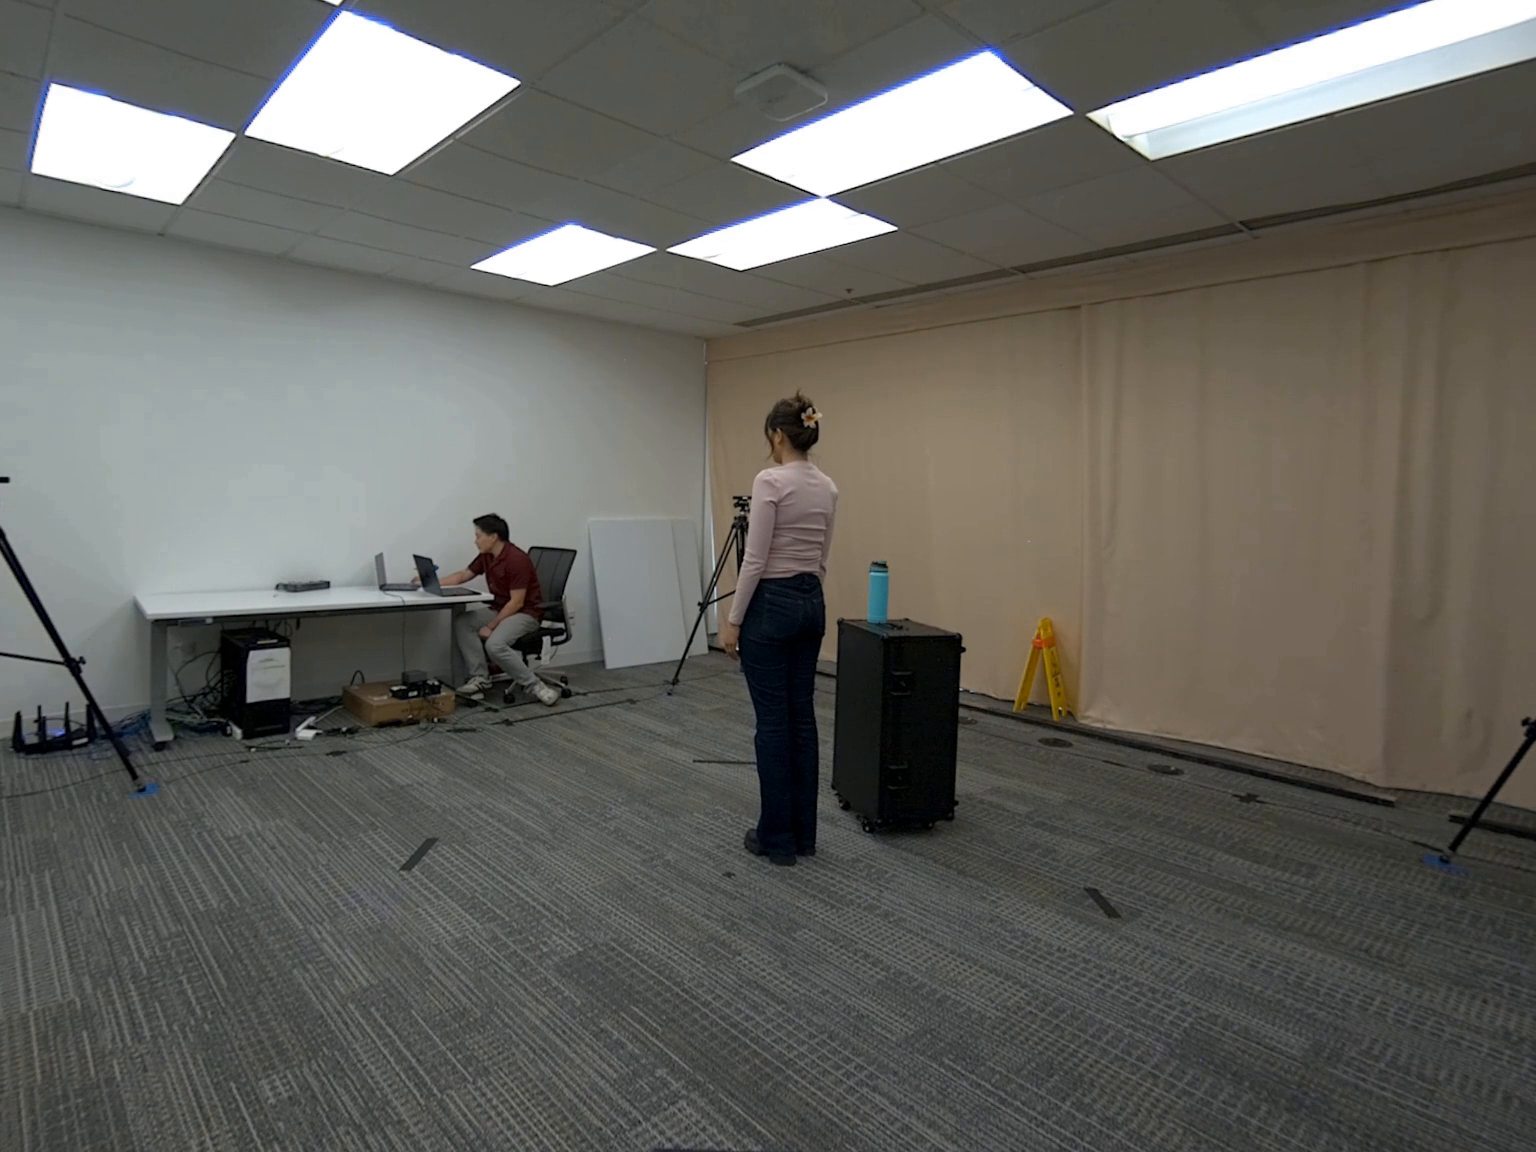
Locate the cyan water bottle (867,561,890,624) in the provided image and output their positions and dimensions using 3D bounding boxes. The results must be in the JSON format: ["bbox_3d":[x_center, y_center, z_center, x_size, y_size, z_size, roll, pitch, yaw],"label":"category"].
[{"bbox_3d":[0.493,0.067,3.812,0.092,0.283,0.092,2,2,-1],"label":"cyan water bottle"}]
